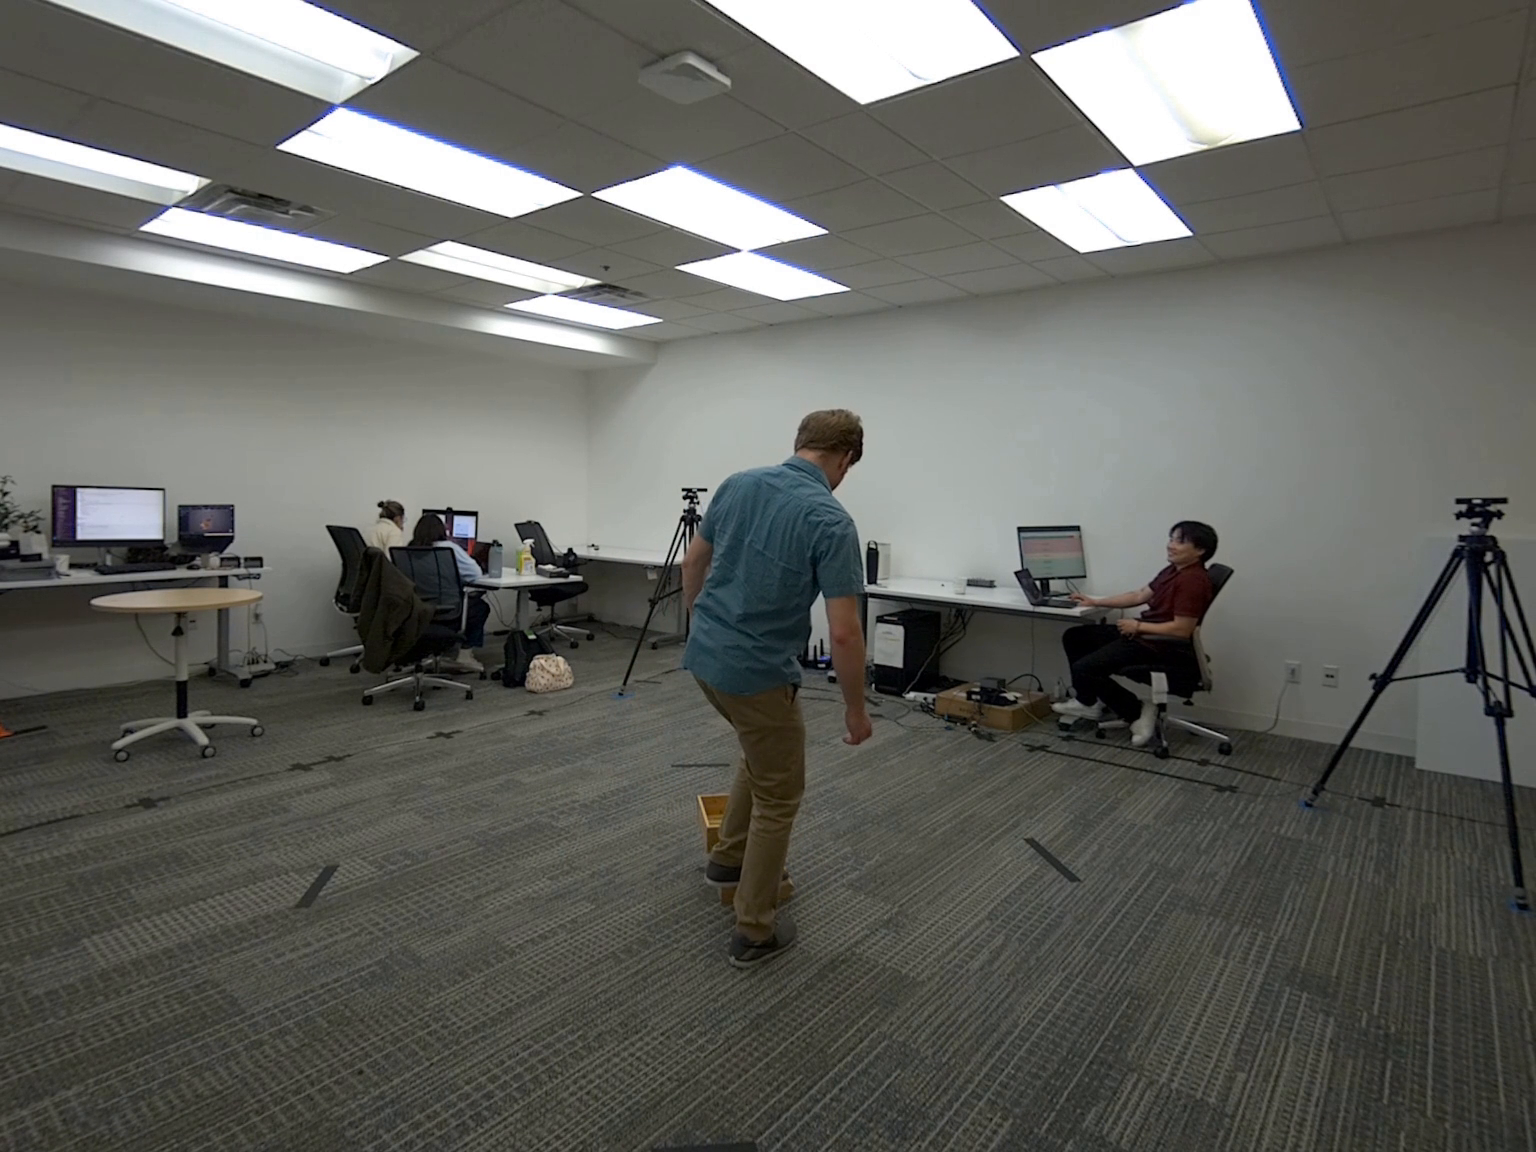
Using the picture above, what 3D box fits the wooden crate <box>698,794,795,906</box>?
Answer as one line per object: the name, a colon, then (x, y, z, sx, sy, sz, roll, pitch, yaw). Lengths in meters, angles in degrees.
wooden crate: (-0.082, 0.945, 3.011, 0.299, 0.272, 0.329, 1, 4, -10)
